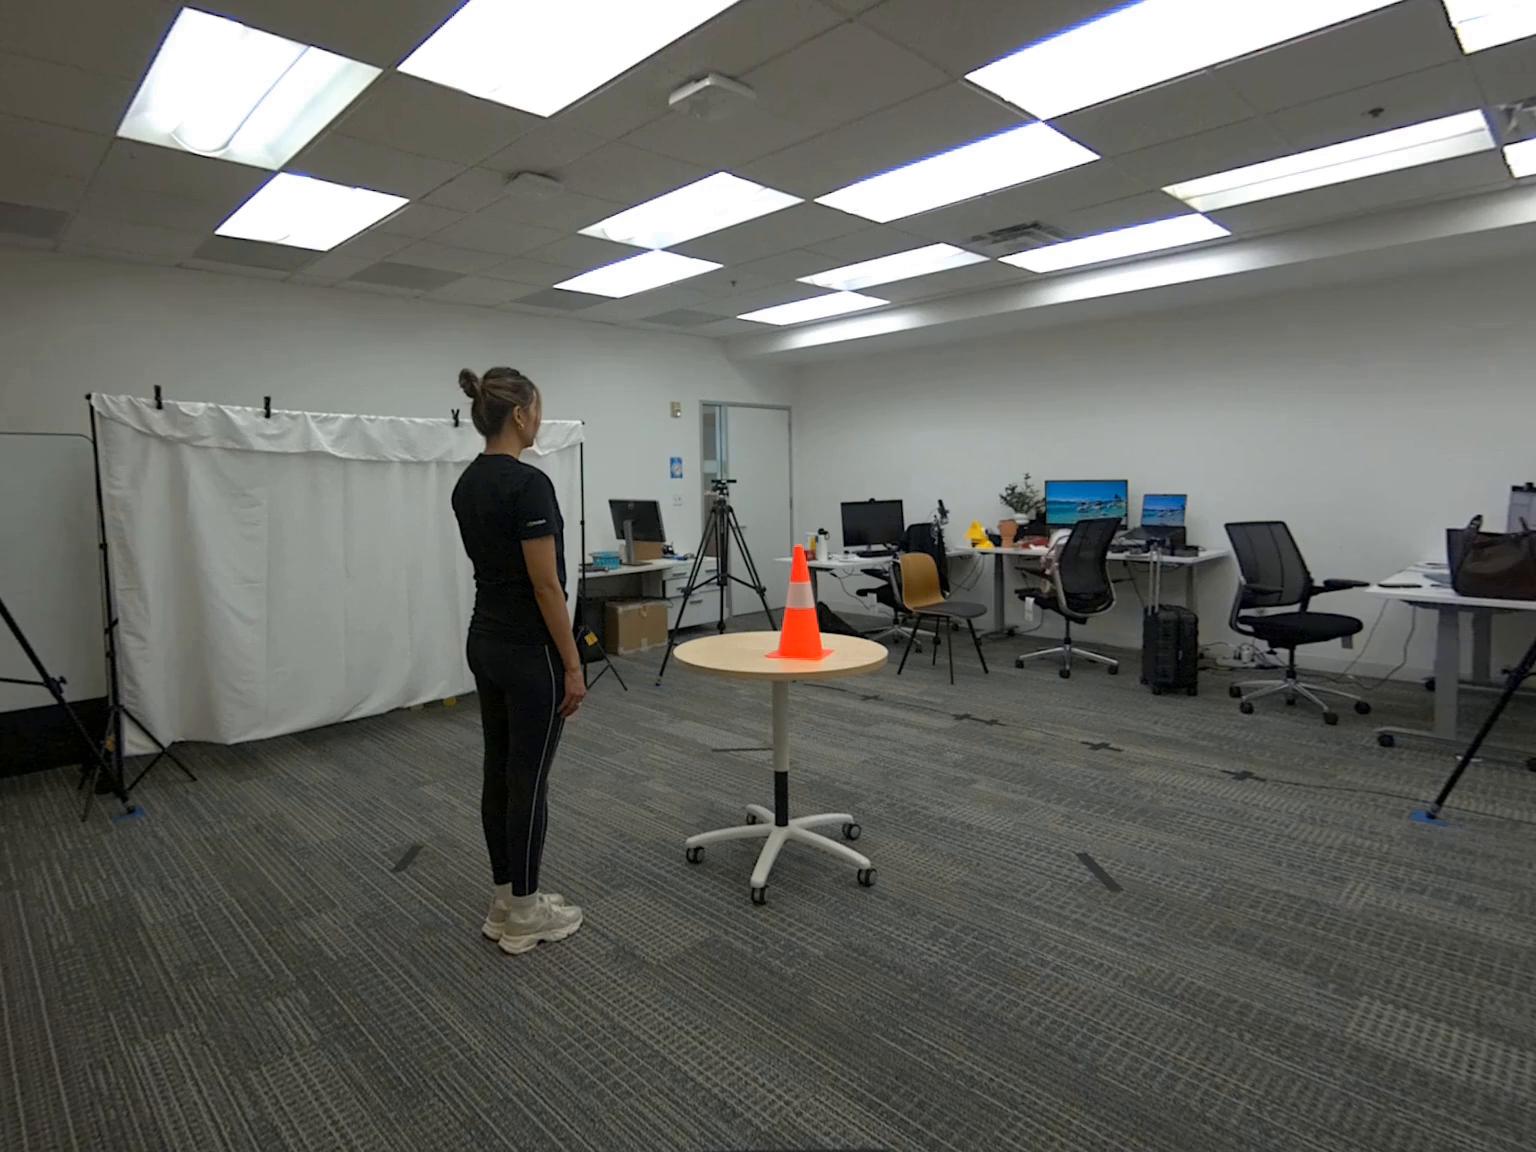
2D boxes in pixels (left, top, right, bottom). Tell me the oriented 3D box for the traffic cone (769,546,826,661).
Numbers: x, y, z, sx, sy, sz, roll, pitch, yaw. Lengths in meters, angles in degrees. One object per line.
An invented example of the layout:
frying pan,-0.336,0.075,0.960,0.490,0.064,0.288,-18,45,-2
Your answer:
traffic cone,0.106,0.086,2.985,0.208,0.383,0.200,-3,2,17
